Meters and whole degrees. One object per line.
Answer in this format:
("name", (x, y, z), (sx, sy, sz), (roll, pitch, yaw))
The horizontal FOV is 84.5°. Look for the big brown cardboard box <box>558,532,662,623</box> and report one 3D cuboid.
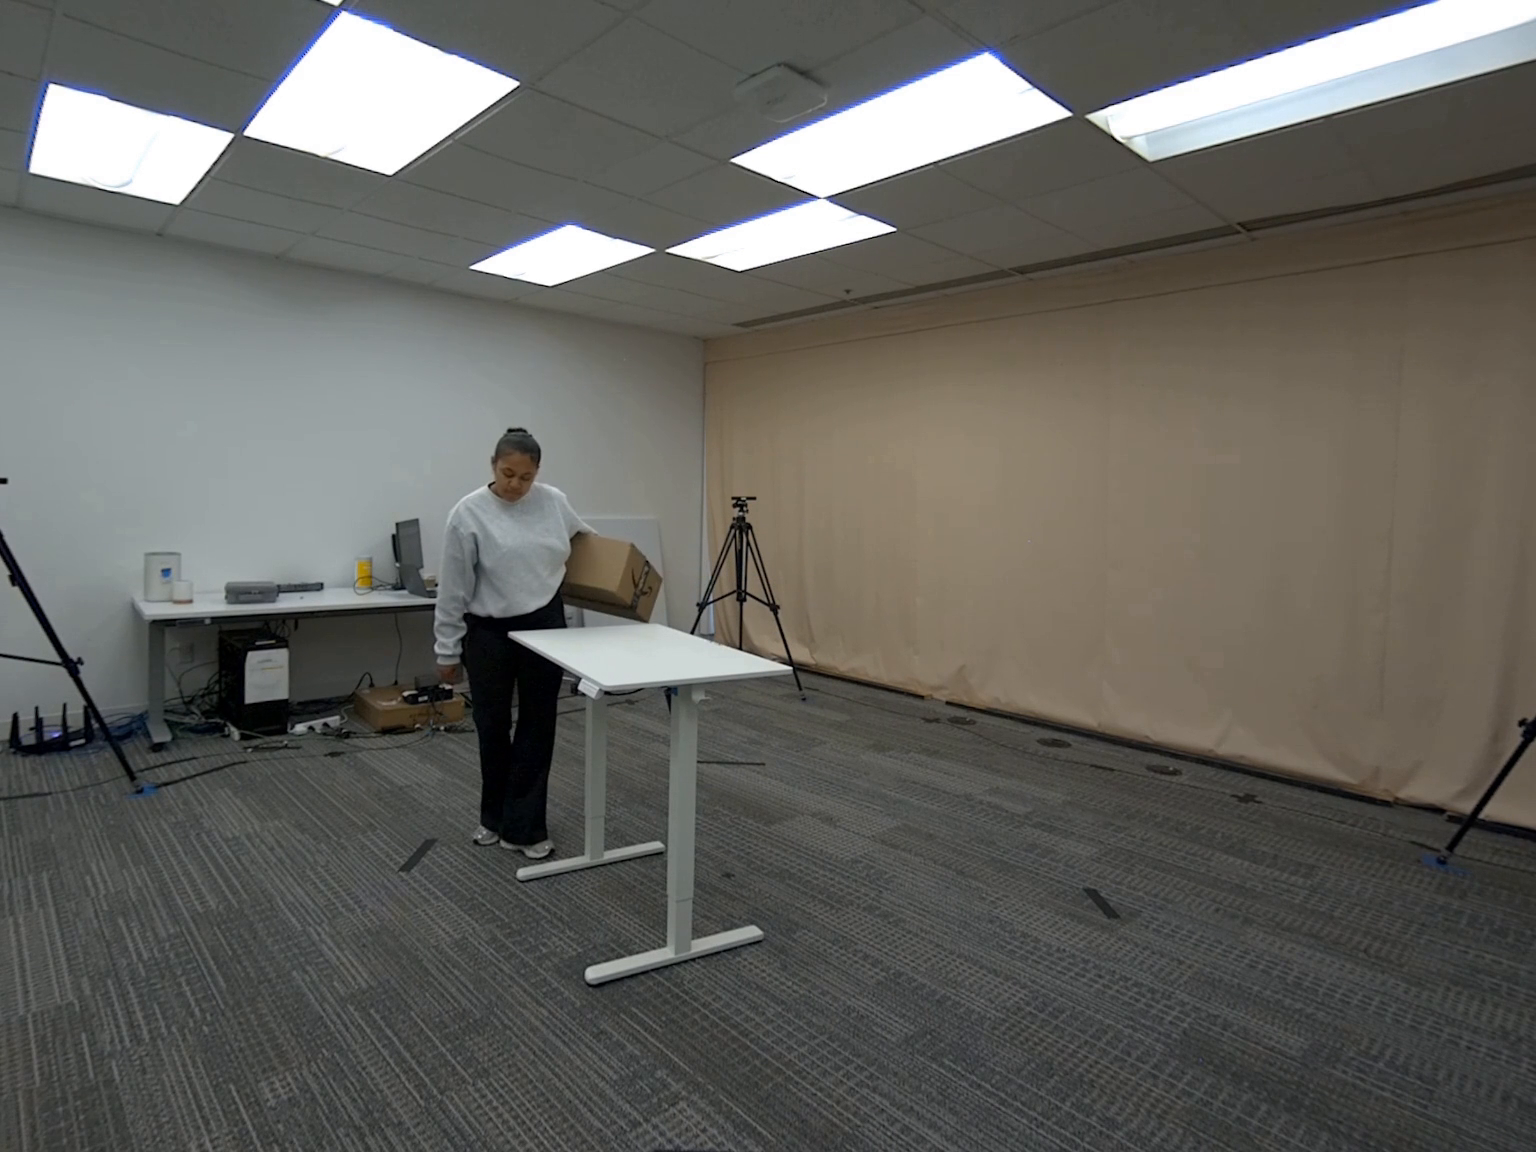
("big brown cardboard box", (-0.799, -0.019, 3.594), (0.598, 0.235, 0.407), (9, -19, 16))
